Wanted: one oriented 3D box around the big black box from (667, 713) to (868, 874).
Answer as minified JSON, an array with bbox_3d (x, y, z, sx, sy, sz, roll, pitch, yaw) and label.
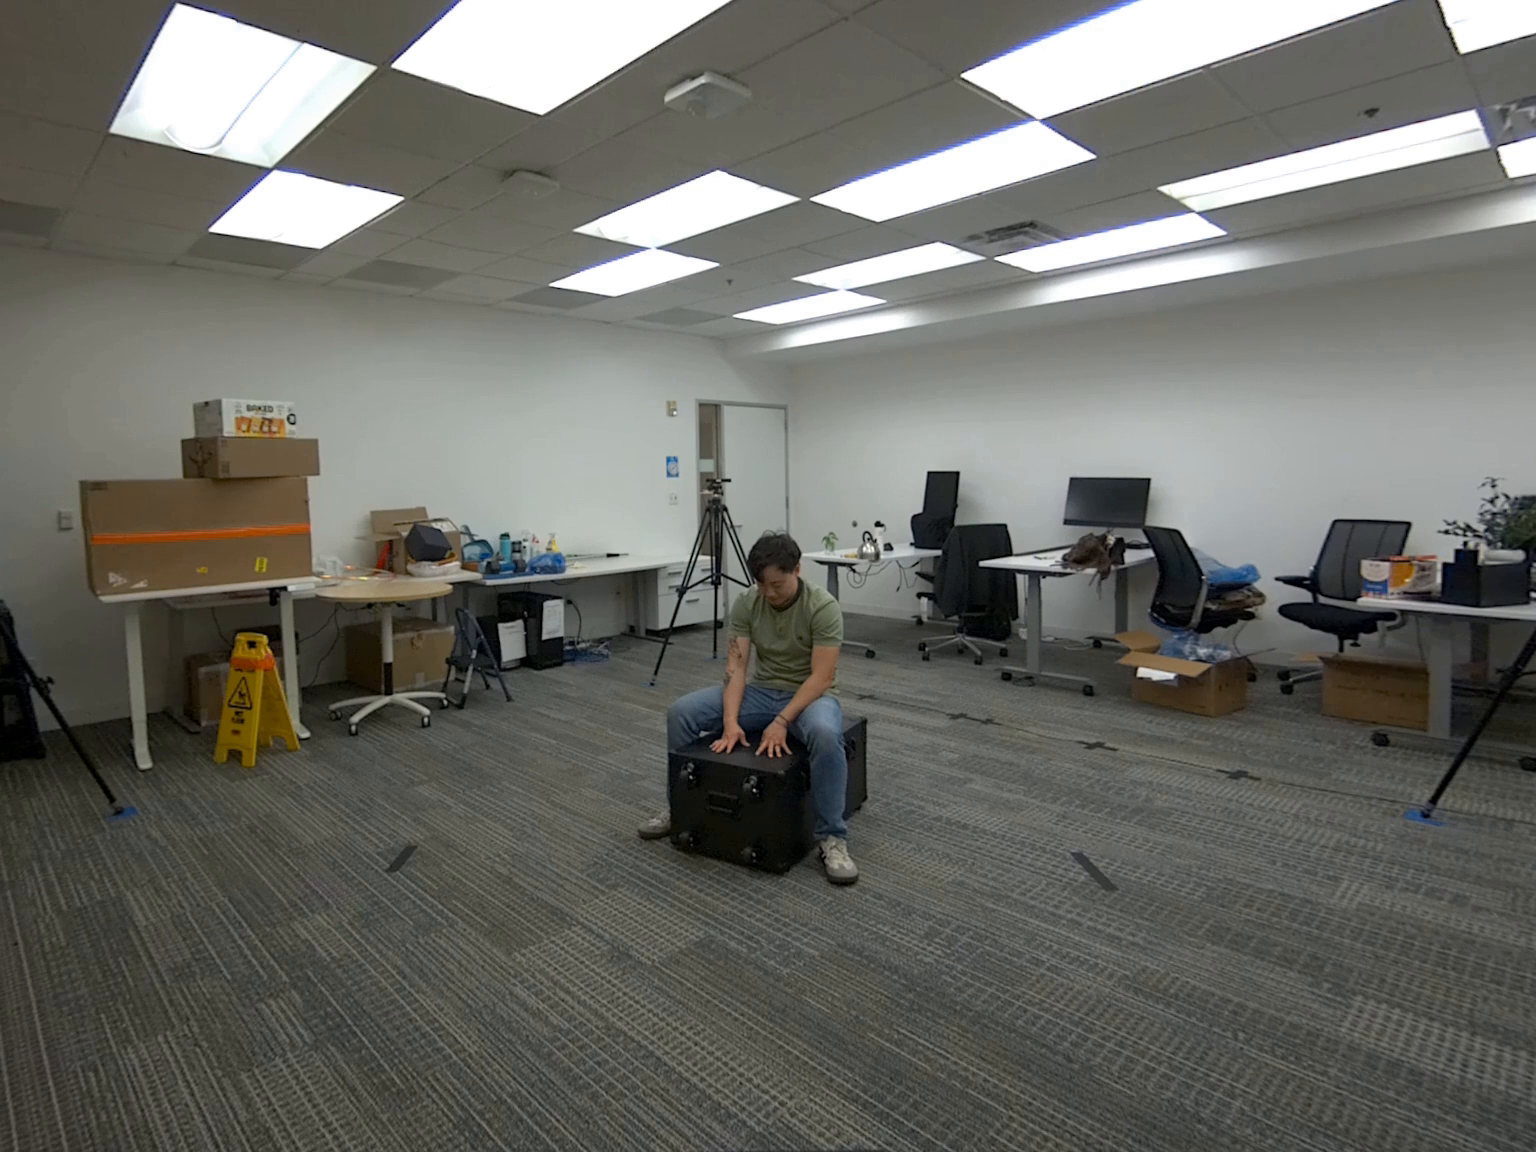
[{"bbox_3d":[0.011,0.822,3.400,0.535,0.395,0.842,3,6,29],"label":"big black box"}]
